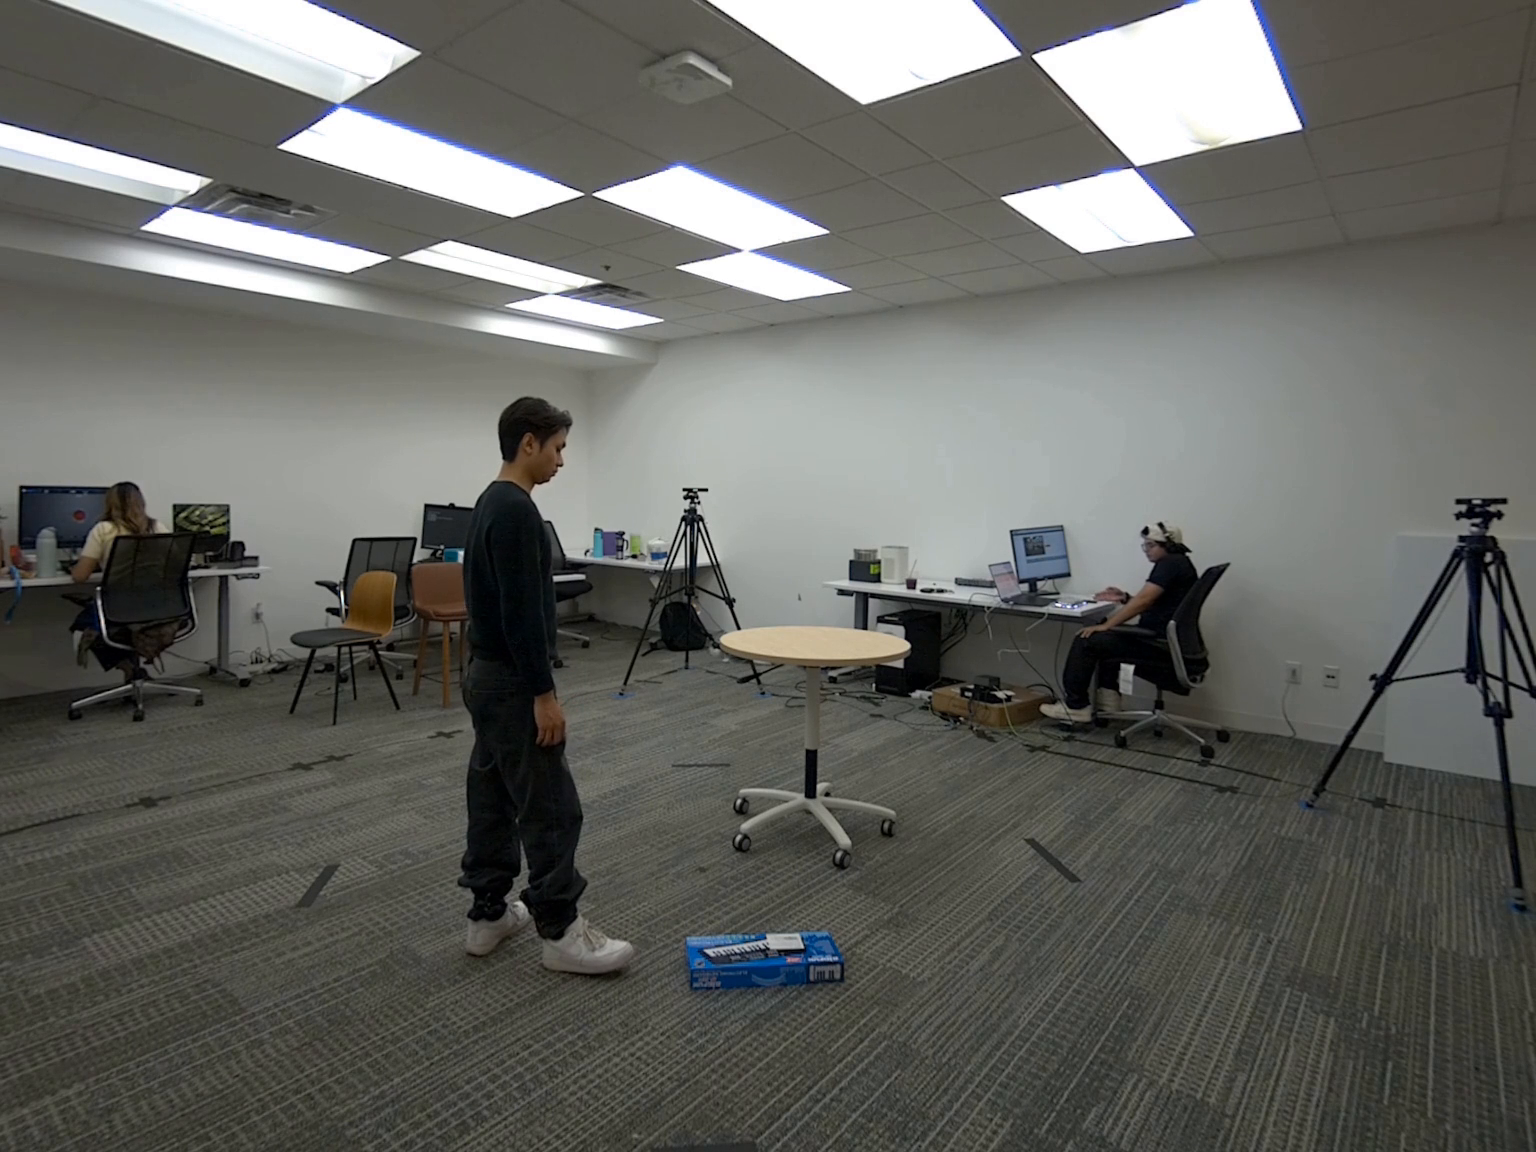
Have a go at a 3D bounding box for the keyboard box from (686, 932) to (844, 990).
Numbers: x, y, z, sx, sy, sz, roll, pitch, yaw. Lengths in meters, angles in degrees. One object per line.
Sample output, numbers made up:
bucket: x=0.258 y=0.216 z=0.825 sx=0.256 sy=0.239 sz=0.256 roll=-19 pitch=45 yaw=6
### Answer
keyboard box: x=-0.022 y=1.112 z=2.461 sx=0.433 sy=0.059 sz=0.178 roll=0 pitch=6 yaw=-8
